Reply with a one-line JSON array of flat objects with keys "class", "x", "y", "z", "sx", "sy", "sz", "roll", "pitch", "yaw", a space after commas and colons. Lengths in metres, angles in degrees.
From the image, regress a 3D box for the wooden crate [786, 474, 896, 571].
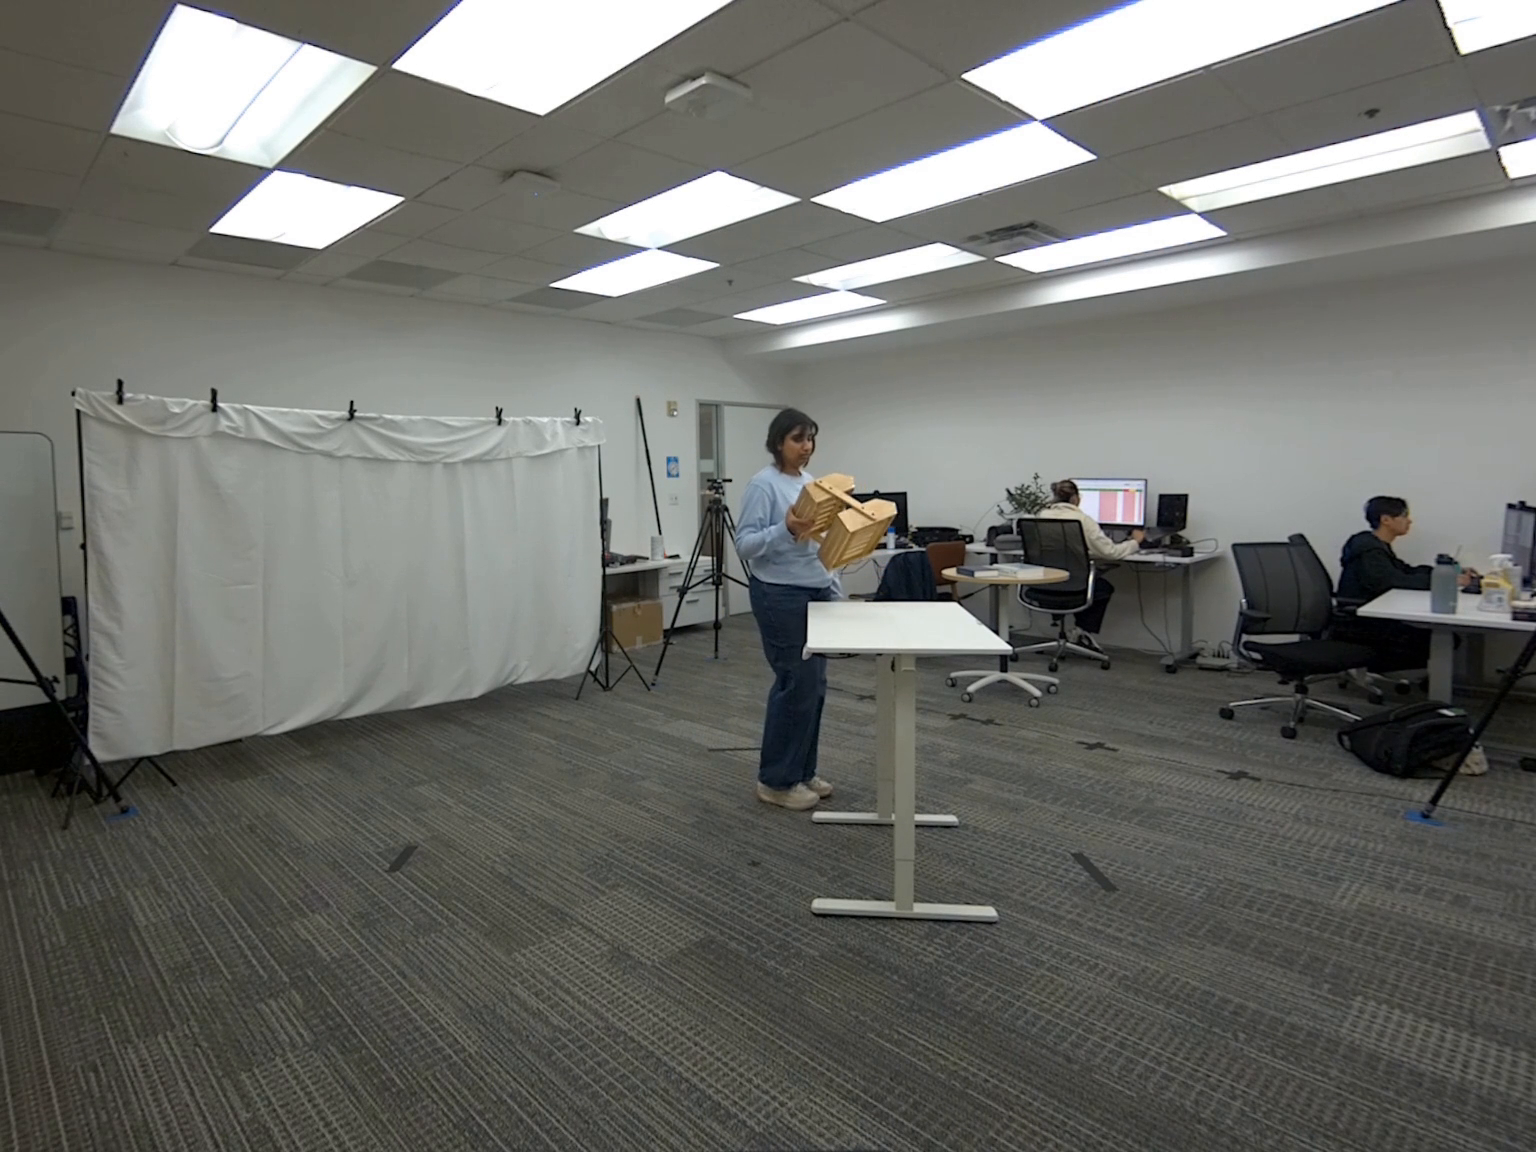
[{"class": "wooden crate", "x": 0.294, "y": -0.232, "z": 3.444, "sx": 0.298, "sy": 0.281, "sz": 0.320, "roll": -23, "pitch": -23, "yaw": -25}]
